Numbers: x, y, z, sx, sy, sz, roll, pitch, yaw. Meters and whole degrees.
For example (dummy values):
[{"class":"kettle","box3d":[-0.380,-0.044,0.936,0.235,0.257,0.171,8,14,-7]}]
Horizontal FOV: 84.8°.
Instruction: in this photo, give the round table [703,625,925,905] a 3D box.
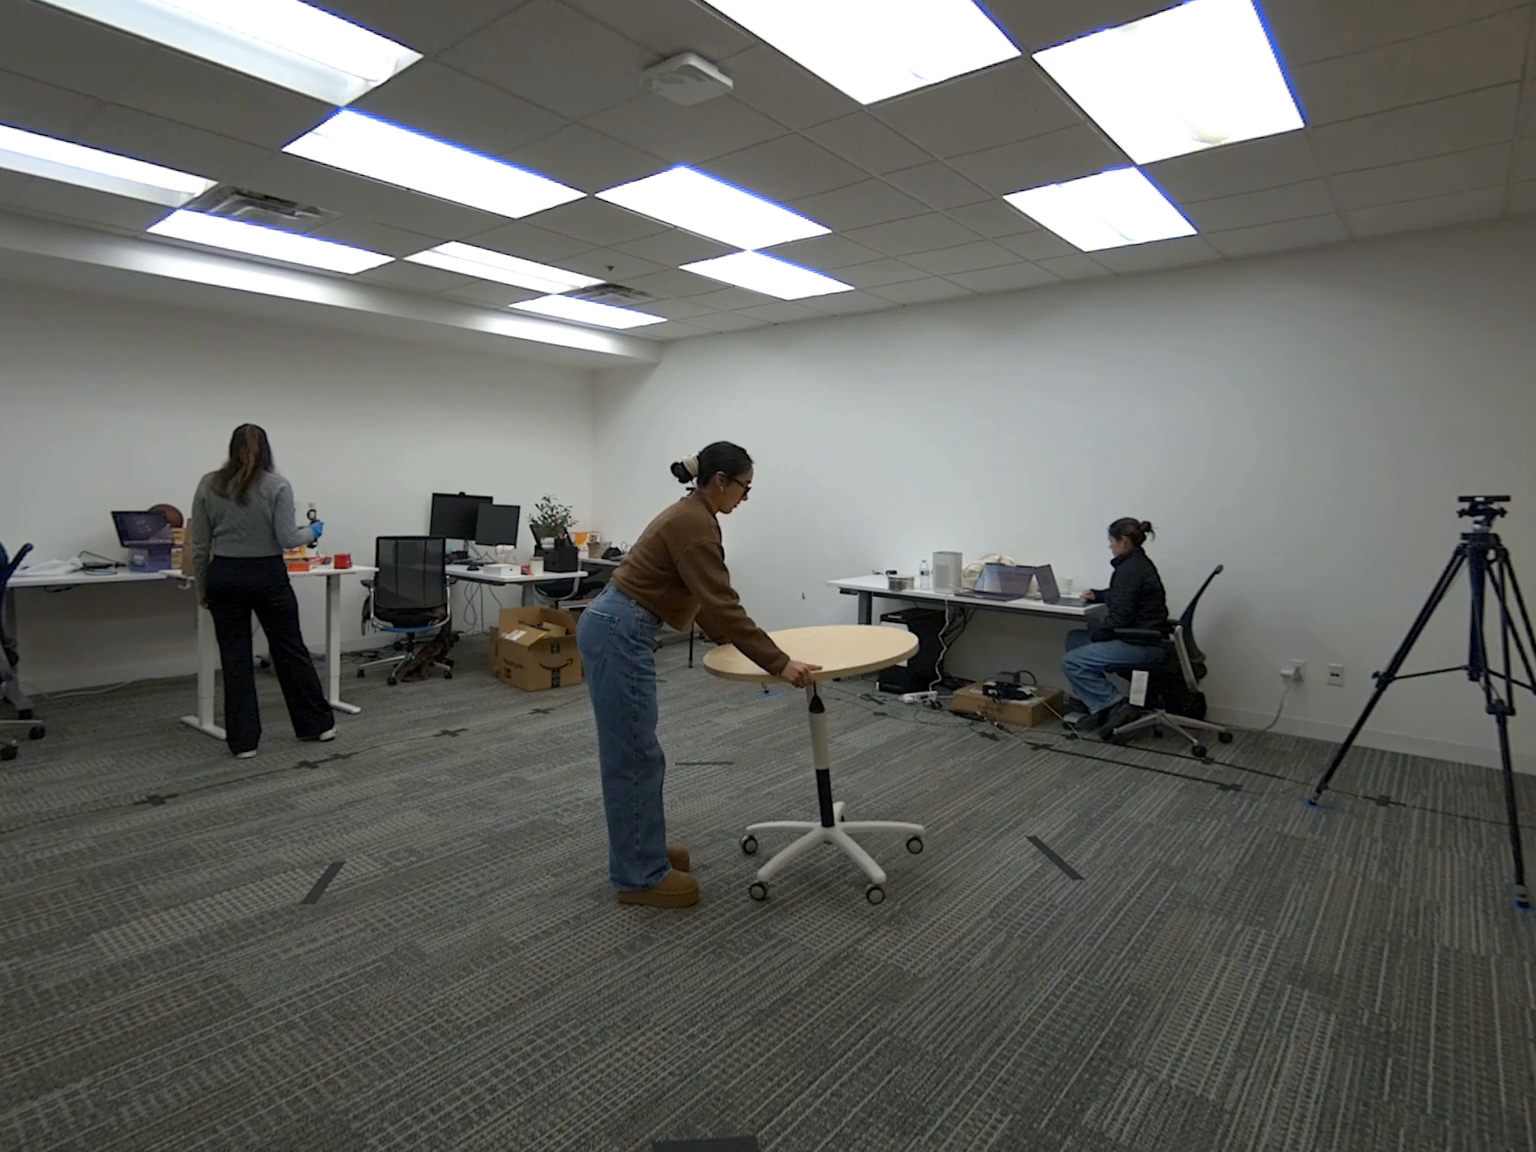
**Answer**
[{"class":"round table","box3d":[0.181,0.655,3.060,0.764,0.790,0.768,-6,5,-1]}]
